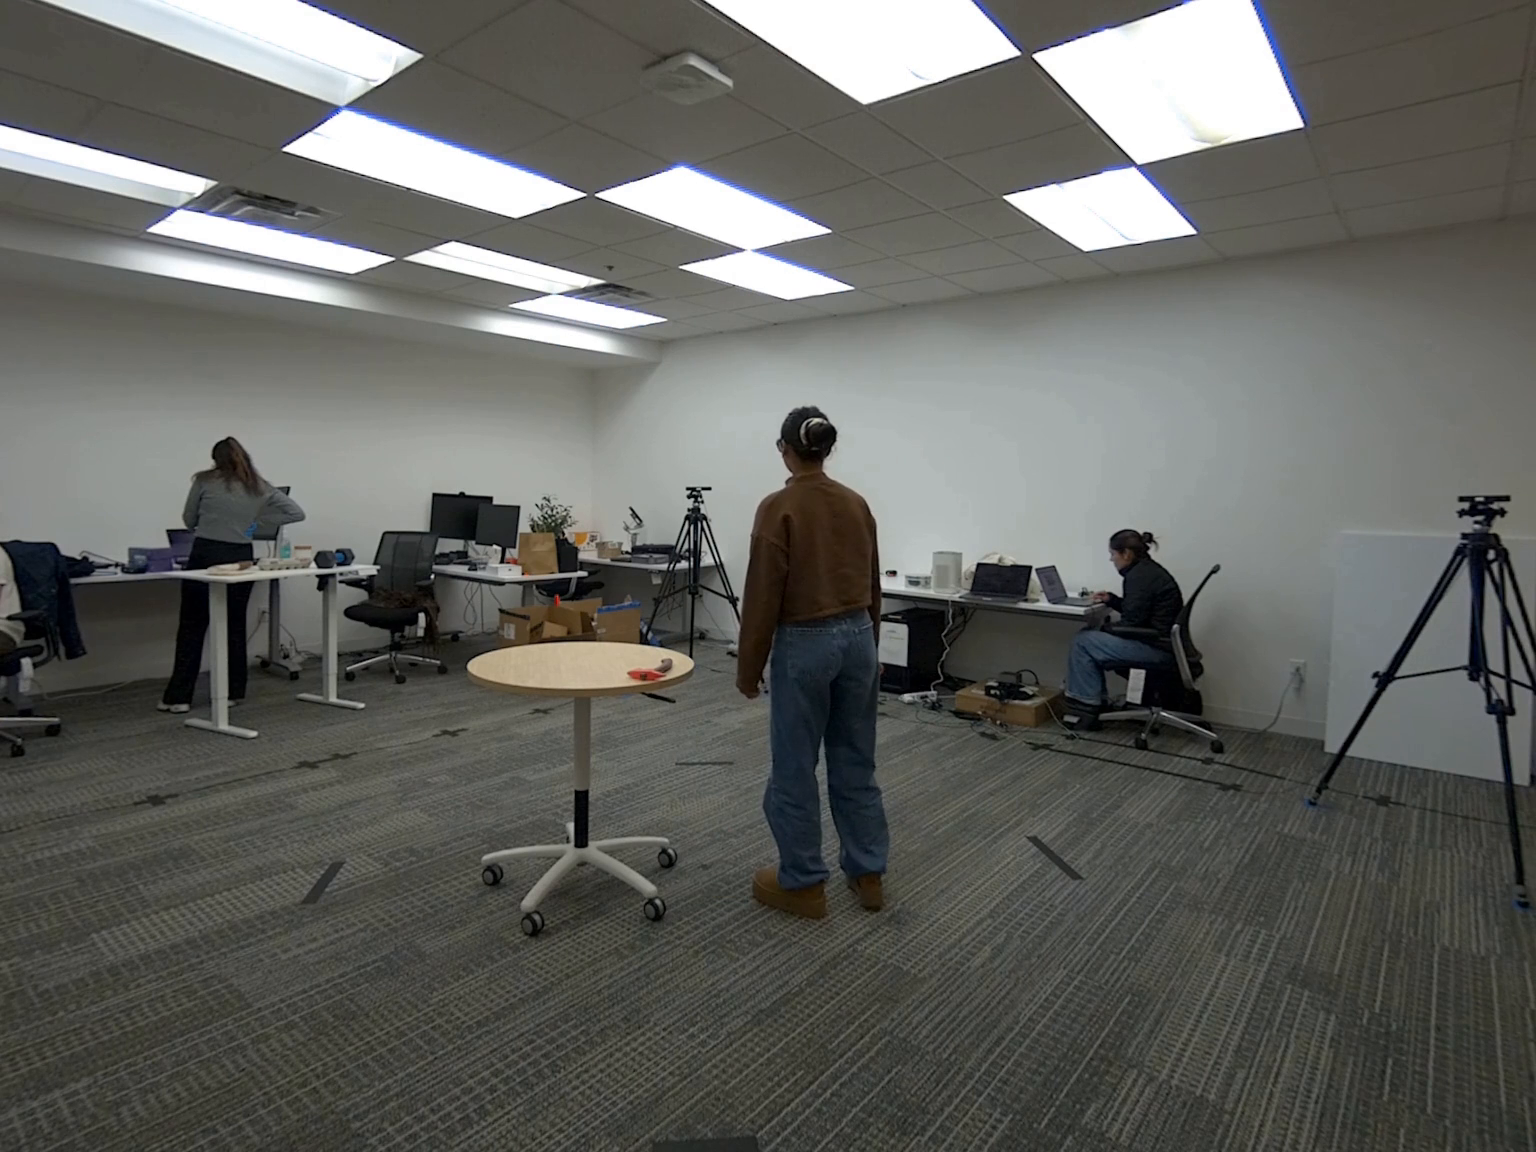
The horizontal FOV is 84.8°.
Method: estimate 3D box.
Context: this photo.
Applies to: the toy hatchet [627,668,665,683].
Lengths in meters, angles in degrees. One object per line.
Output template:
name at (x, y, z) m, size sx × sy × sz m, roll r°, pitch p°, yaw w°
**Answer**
toy hatchet at (-0.344, 0.300, 2.788) m, size 0.135 × 0.029 × 0.263 m, roll 1°, pitch 4°, yaw 31°
